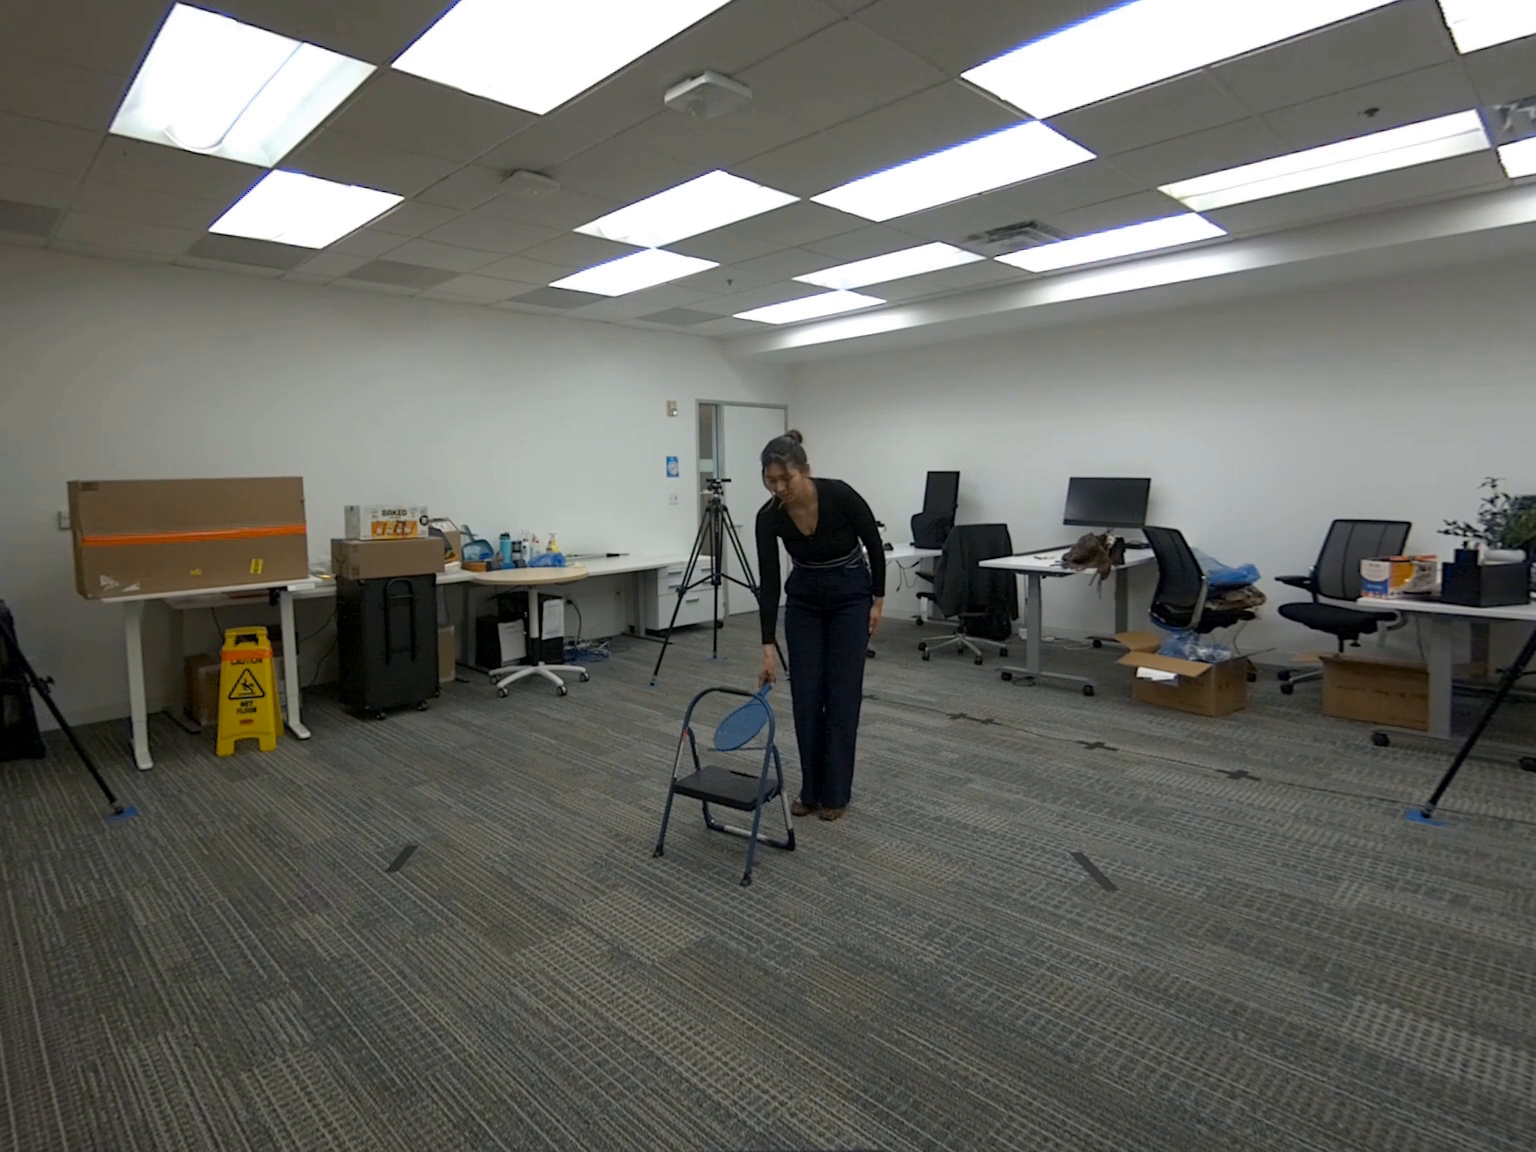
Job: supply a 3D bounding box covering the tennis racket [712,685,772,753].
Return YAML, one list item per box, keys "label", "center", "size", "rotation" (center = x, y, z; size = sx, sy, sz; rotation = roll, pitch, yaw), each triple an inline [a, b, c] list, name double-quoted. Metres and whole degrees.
- label: "tennis racket"
  center: [-0.093, 0.534, 3.294]
  size: [0.218, 0.031, 0.434]
  rotation: [-12, 25, 33]
